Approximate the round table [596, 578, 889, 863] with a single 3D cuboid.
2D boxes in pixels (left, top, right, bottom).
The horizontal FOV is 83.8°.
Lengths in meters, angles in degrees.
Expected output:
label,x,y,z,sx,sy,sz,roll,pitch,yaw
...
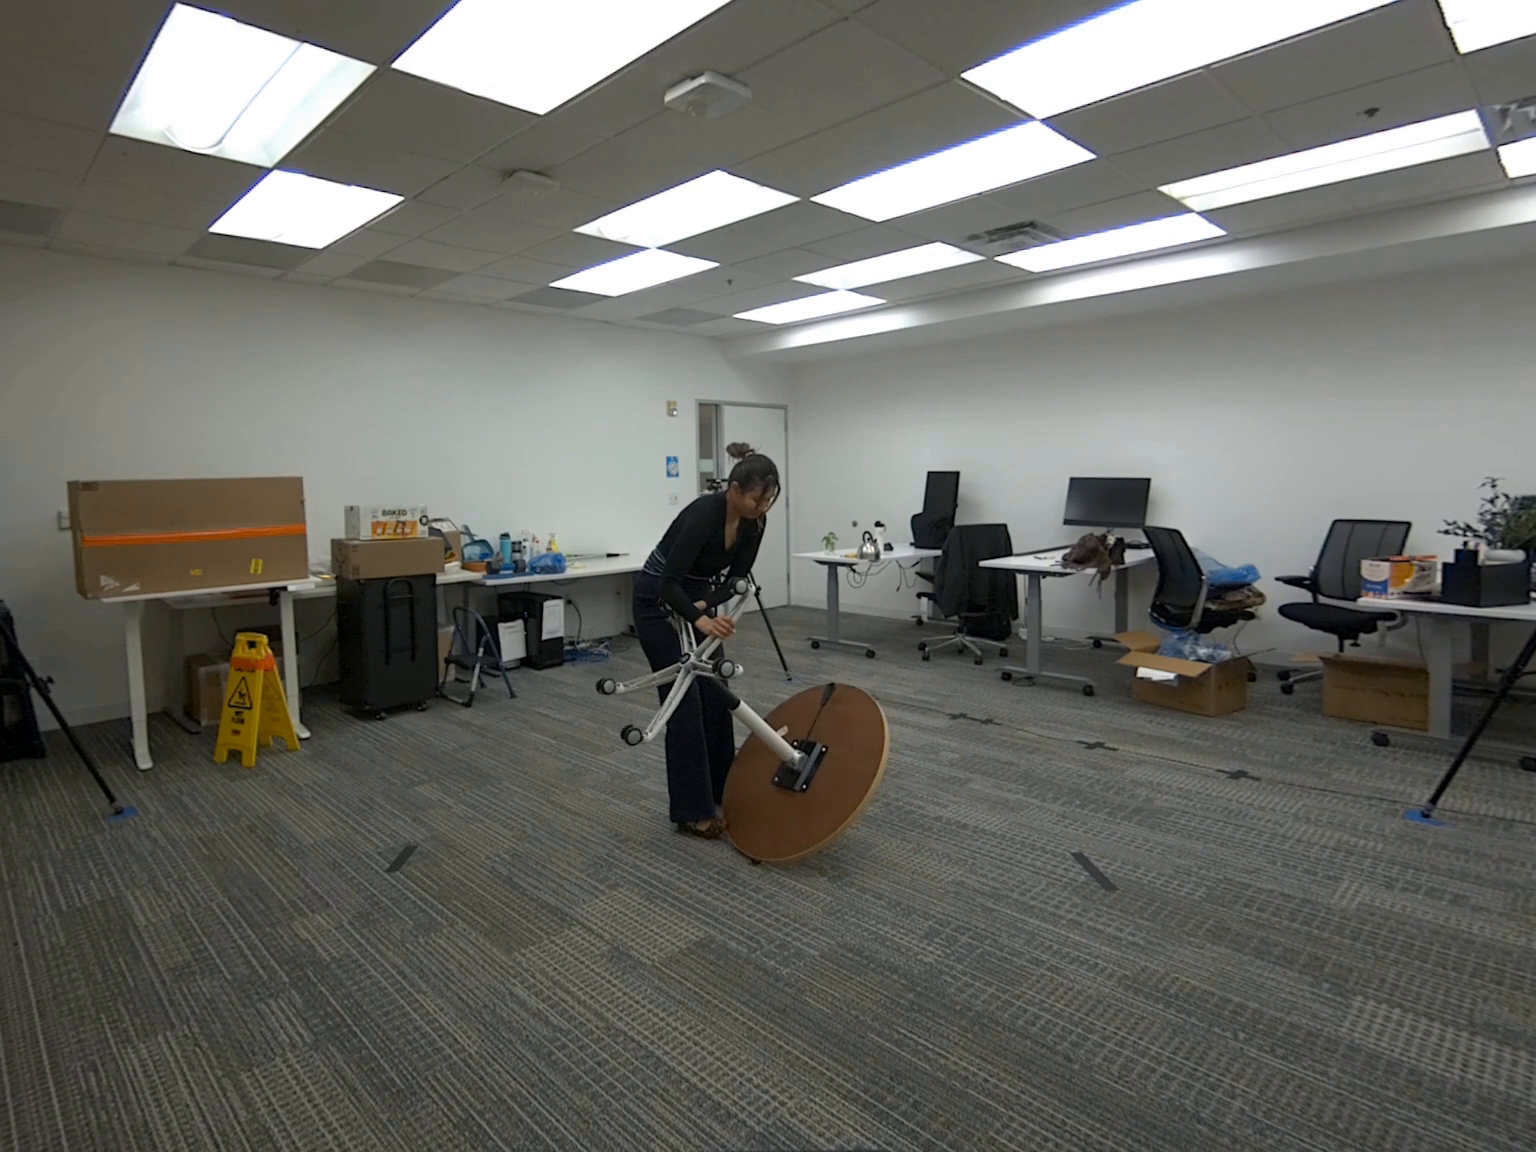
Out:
label,x,y,z,sx,sy,sz,roll,pitch,yaw
round table,-0.101,0.492,3.126,0.769,0.766,0.786,46,-21,-27
